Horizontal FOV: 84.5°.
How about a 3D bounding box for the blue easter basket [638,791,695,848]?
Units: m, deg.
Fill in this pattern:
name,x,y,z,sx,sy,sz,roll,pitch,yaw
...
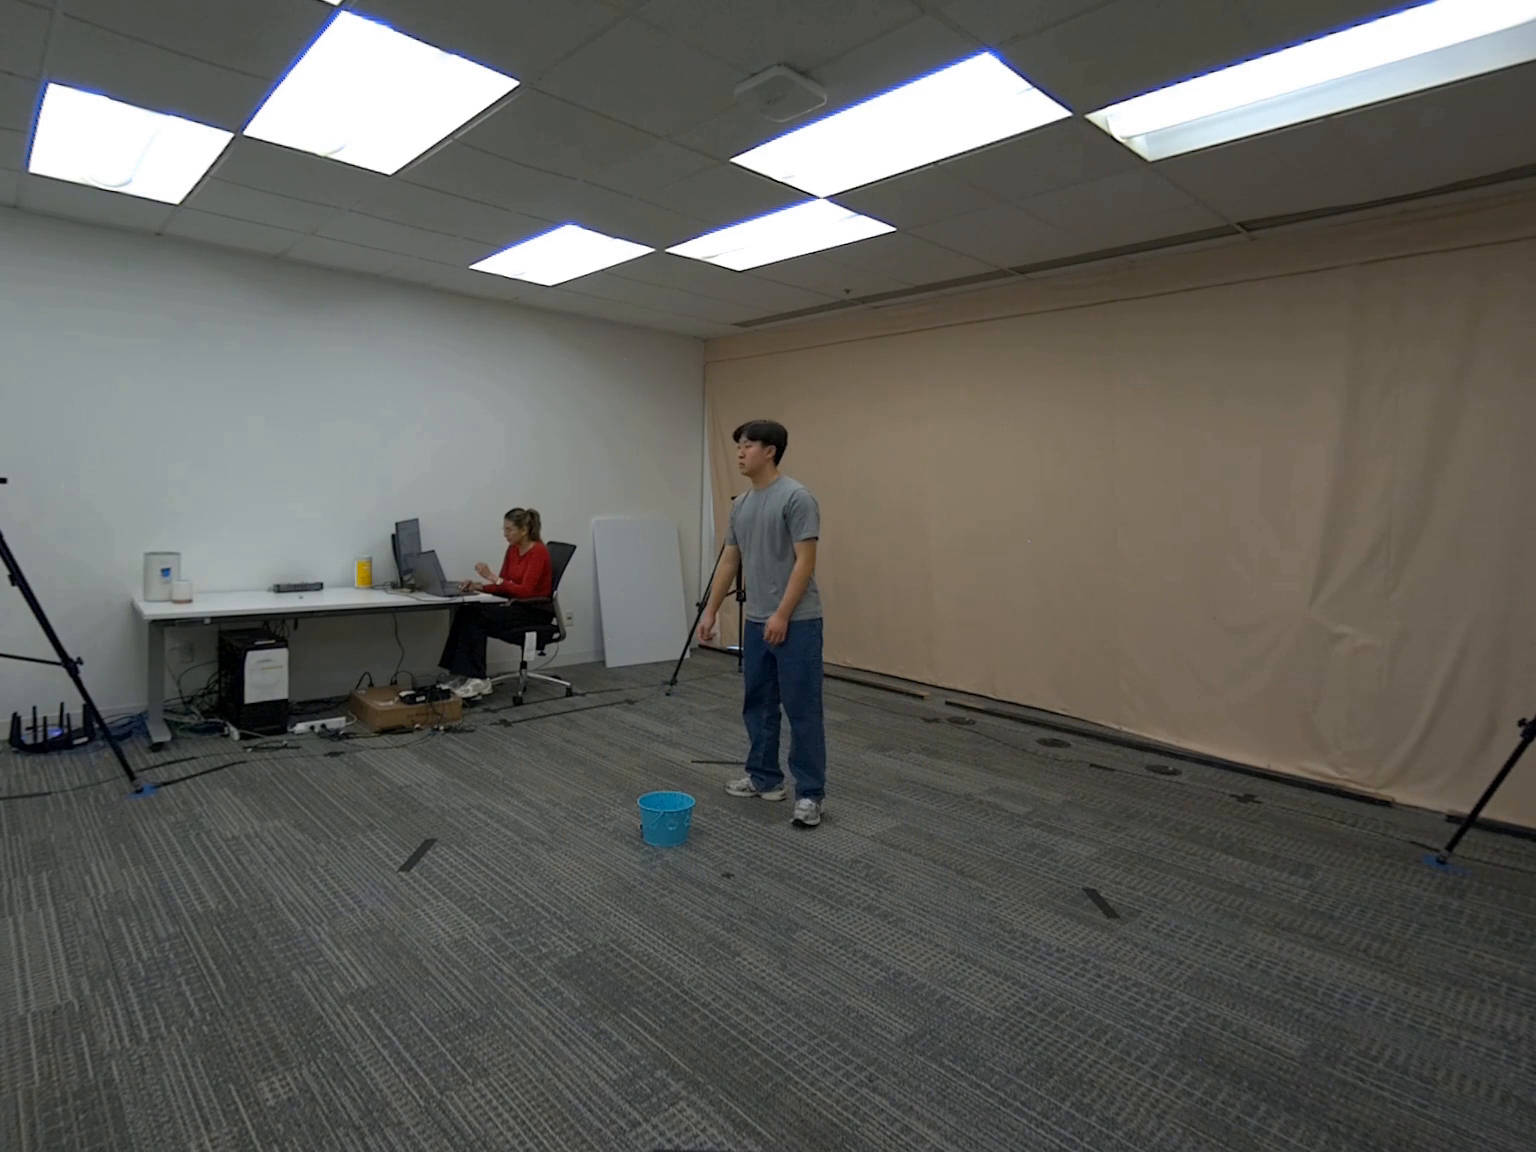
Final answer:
name,x,y,z,sx,sy,sz,roll,pitch,yaw
blue easter basket,-0.428,0.991,3.438,0.243,0.155,0.244,2,5,-2
